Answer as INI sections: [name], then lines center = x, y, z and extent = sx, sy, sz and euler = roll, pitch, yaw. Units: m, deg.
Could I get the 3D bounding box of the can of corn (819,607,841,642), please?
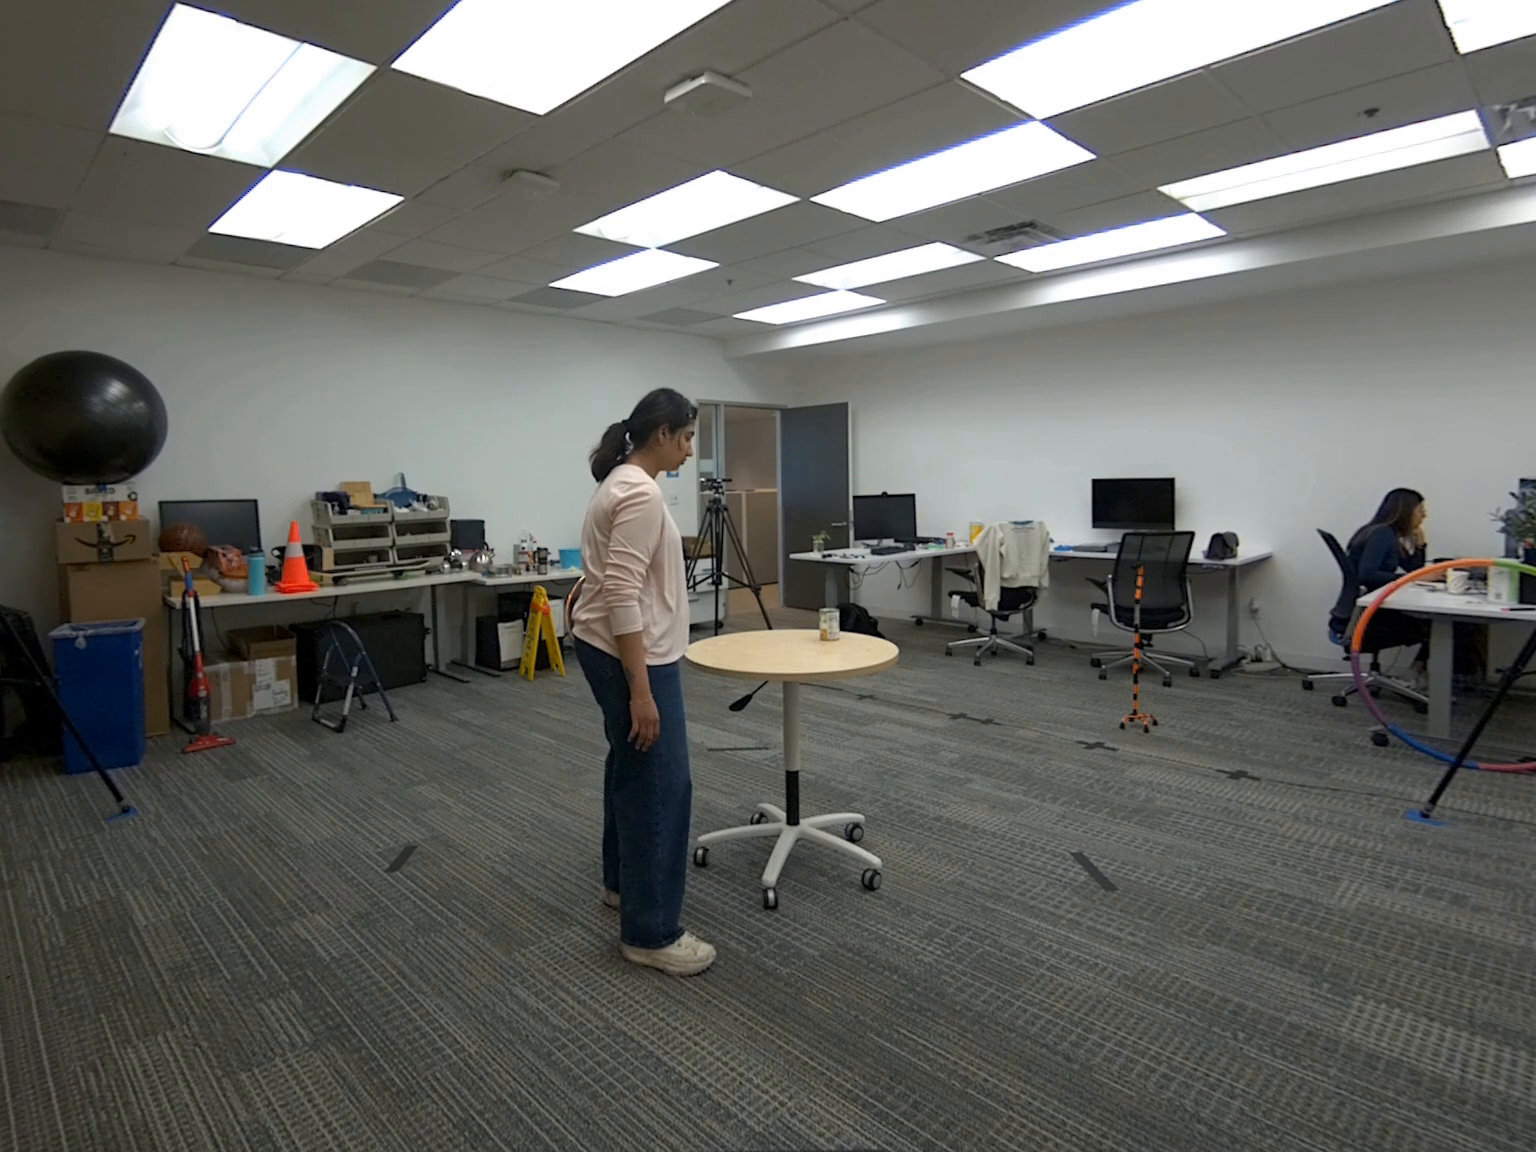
[can of corn]
center = 0.237, 0.185, 3.226
extent = 0.074, 0.110, 0.074
euler = 0, 6, -2
